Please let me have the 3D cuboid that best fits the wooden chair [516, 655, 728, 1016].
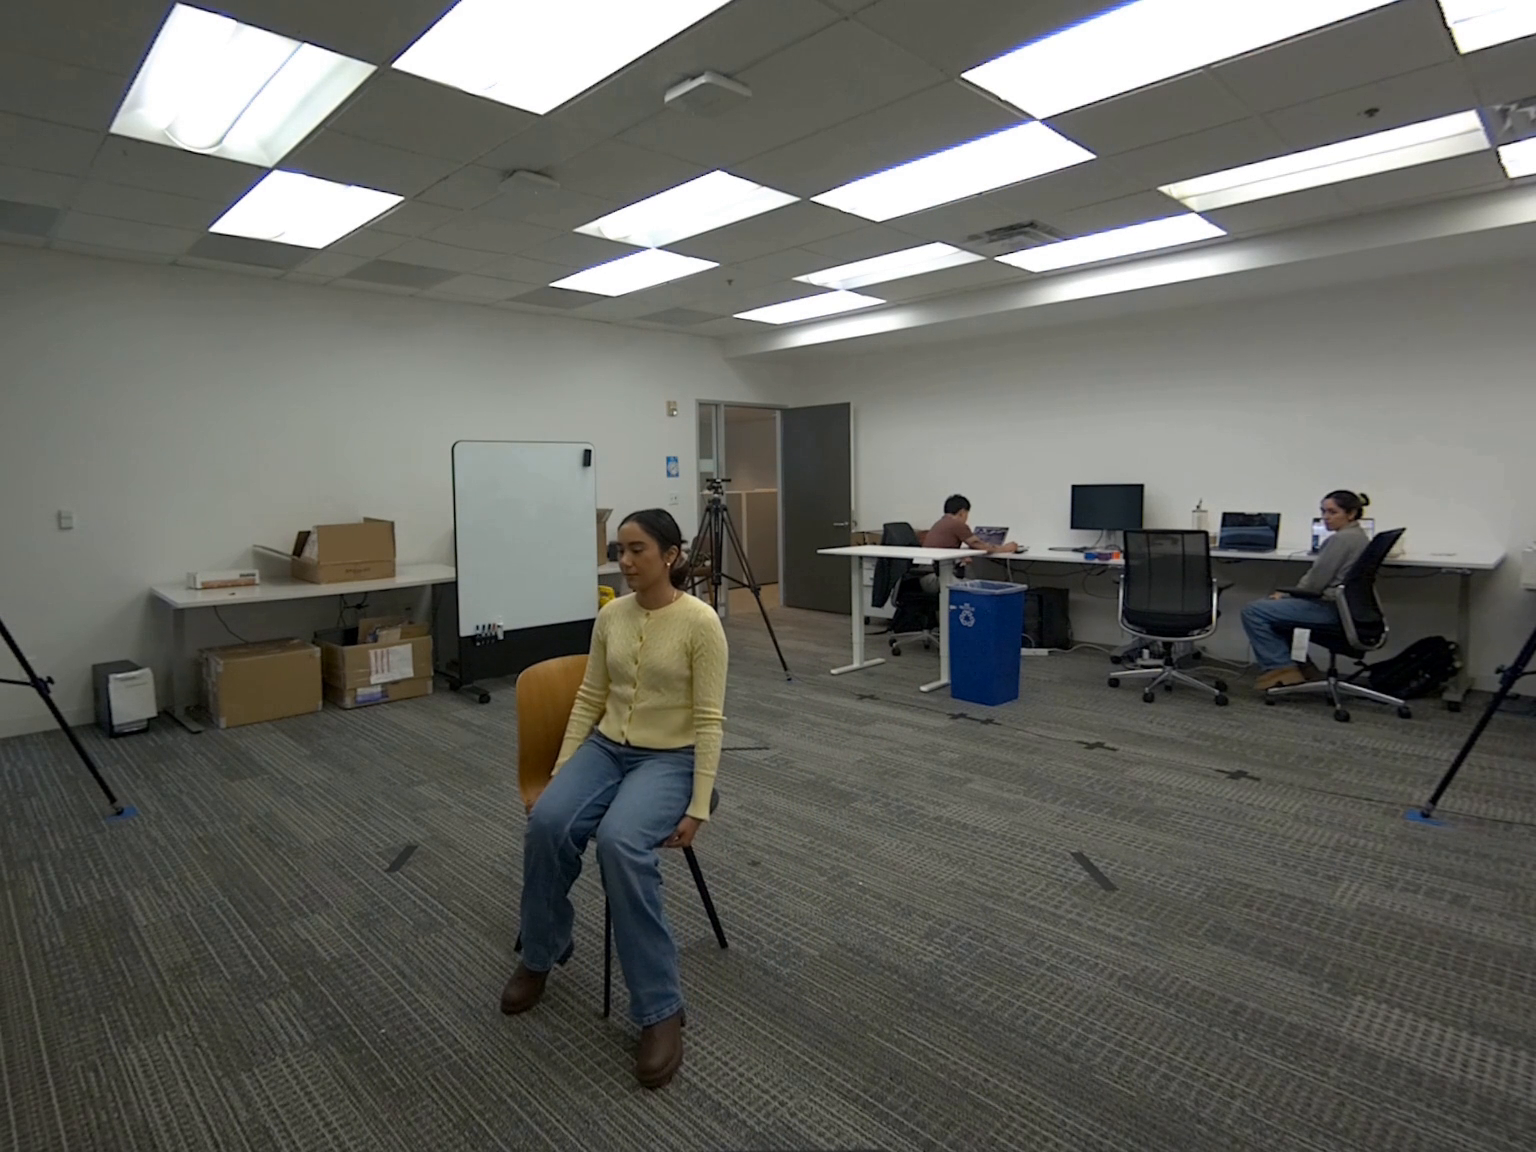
[{"bbox_3d":[-0.426,0.692,2.517,0.538,0.876,0.465,-2,2,44],"label":"wooden chair"}]
